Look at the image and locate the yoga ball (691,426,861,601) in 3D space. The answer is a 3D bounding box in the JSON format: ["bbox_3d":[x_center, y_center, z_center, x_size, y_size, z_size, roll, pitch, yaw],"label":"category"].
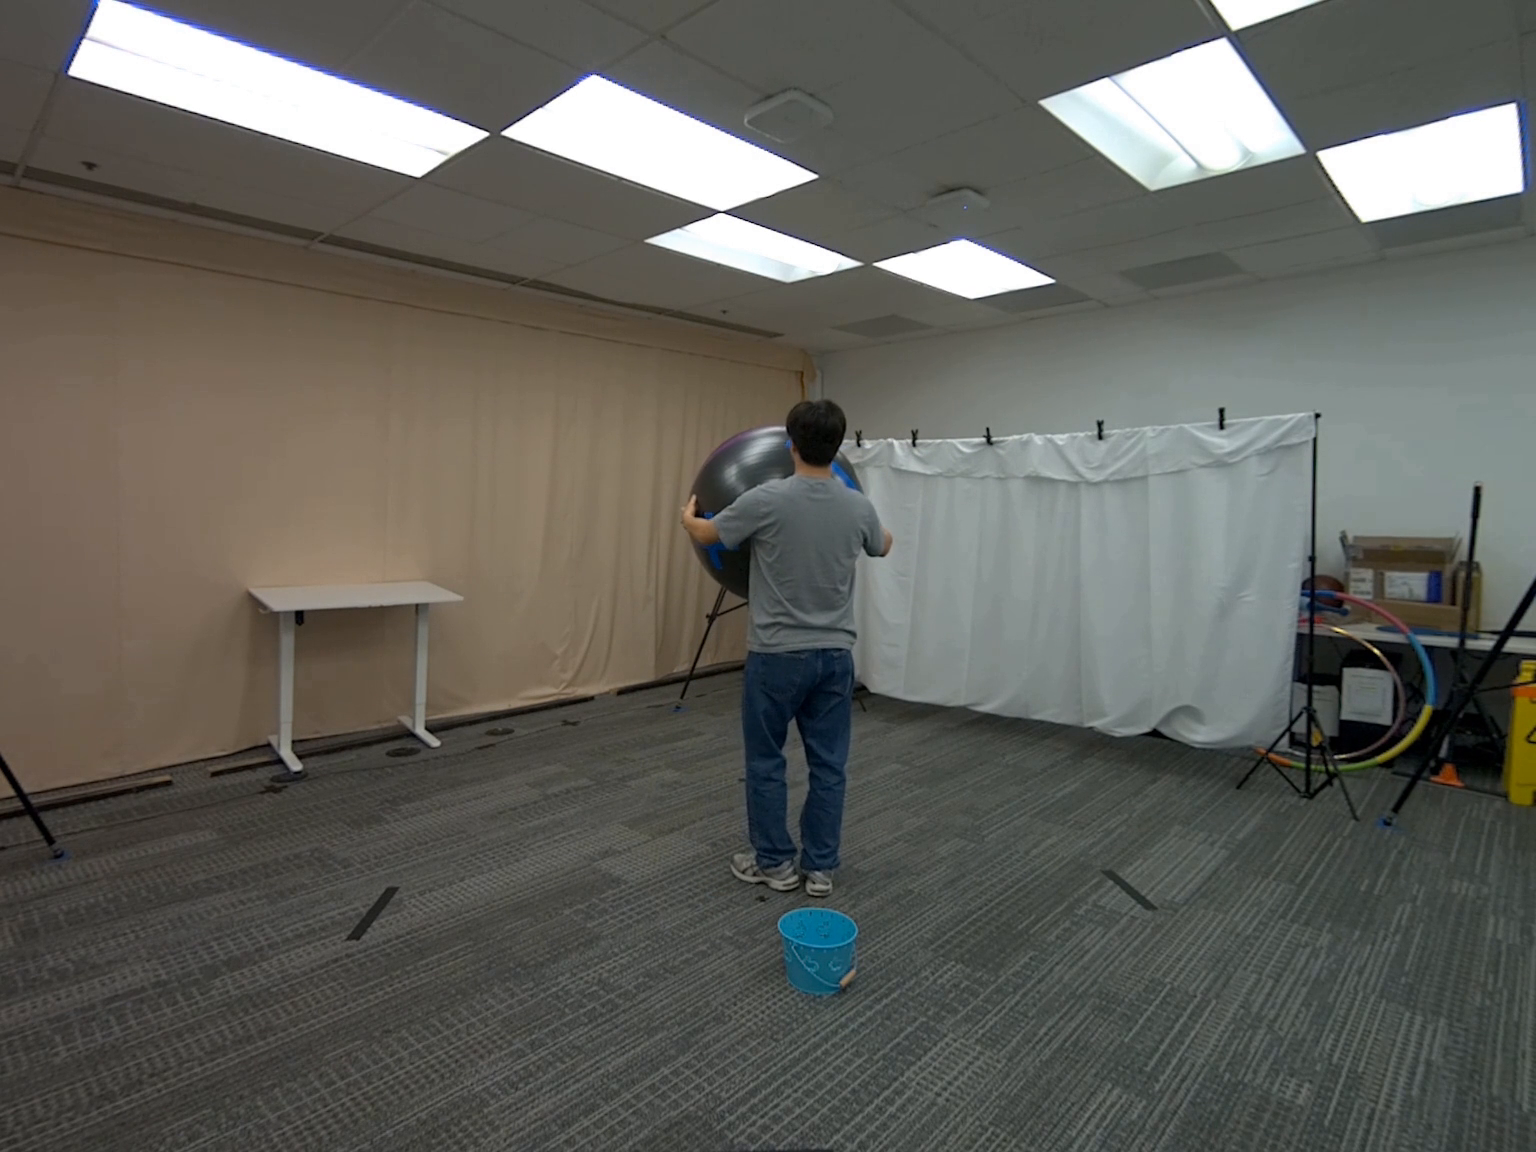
[{"bbox_3d":[0.034,-0.251,3.584,0.757,0.756,0.761,0,4,-2],"label":"yoga ball"}]
